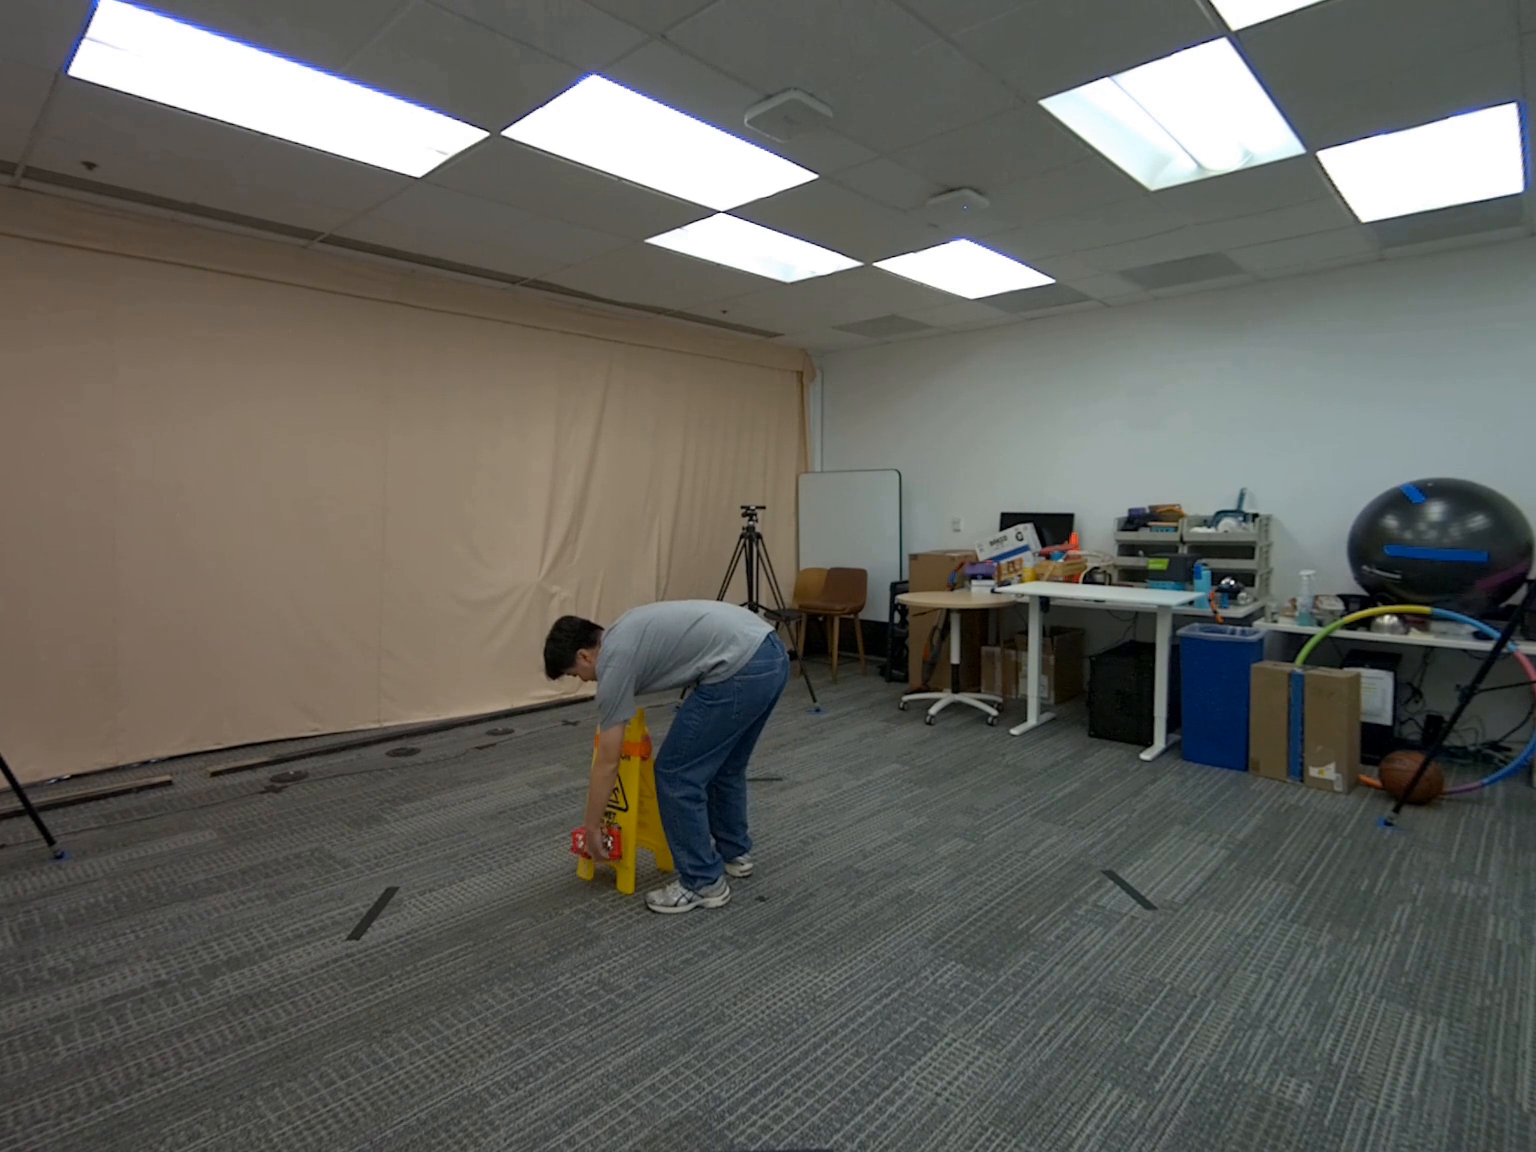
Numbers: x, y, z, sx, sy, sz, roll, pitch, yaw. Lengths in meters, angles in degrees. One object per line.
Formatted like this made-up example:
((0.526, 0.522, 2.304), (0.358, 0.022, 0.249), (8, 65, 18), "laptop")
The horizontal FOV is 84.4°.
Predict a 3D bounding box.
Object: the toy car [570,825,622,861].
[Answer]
((-0.629, 0.967, 3.075), (0.260, 0.131, 0.081), (-7, -6, 25), "toy car")
